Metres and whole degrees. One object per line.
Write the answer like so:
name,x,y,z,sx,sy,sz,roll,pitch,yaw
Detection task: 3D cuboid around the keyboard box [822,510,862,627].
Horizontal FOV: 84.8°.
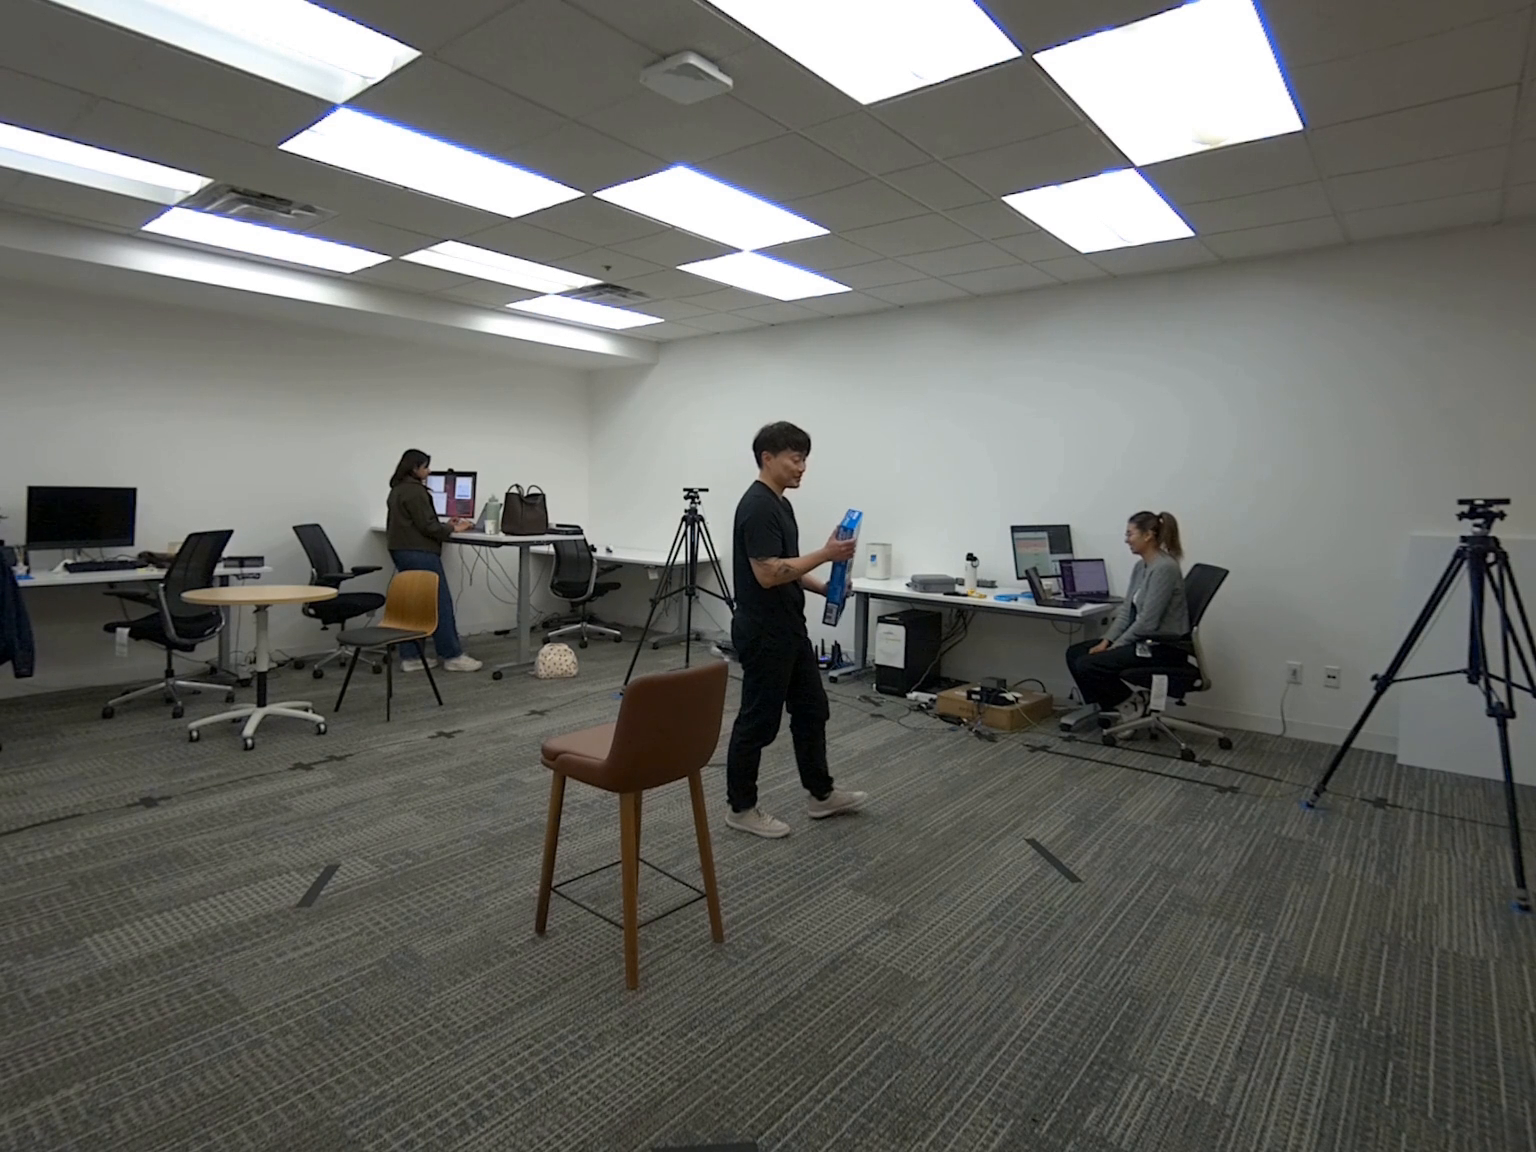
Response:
keyboard box,0.287,-0.032,3.348,0.060,0.428,0.176,13,28,12
